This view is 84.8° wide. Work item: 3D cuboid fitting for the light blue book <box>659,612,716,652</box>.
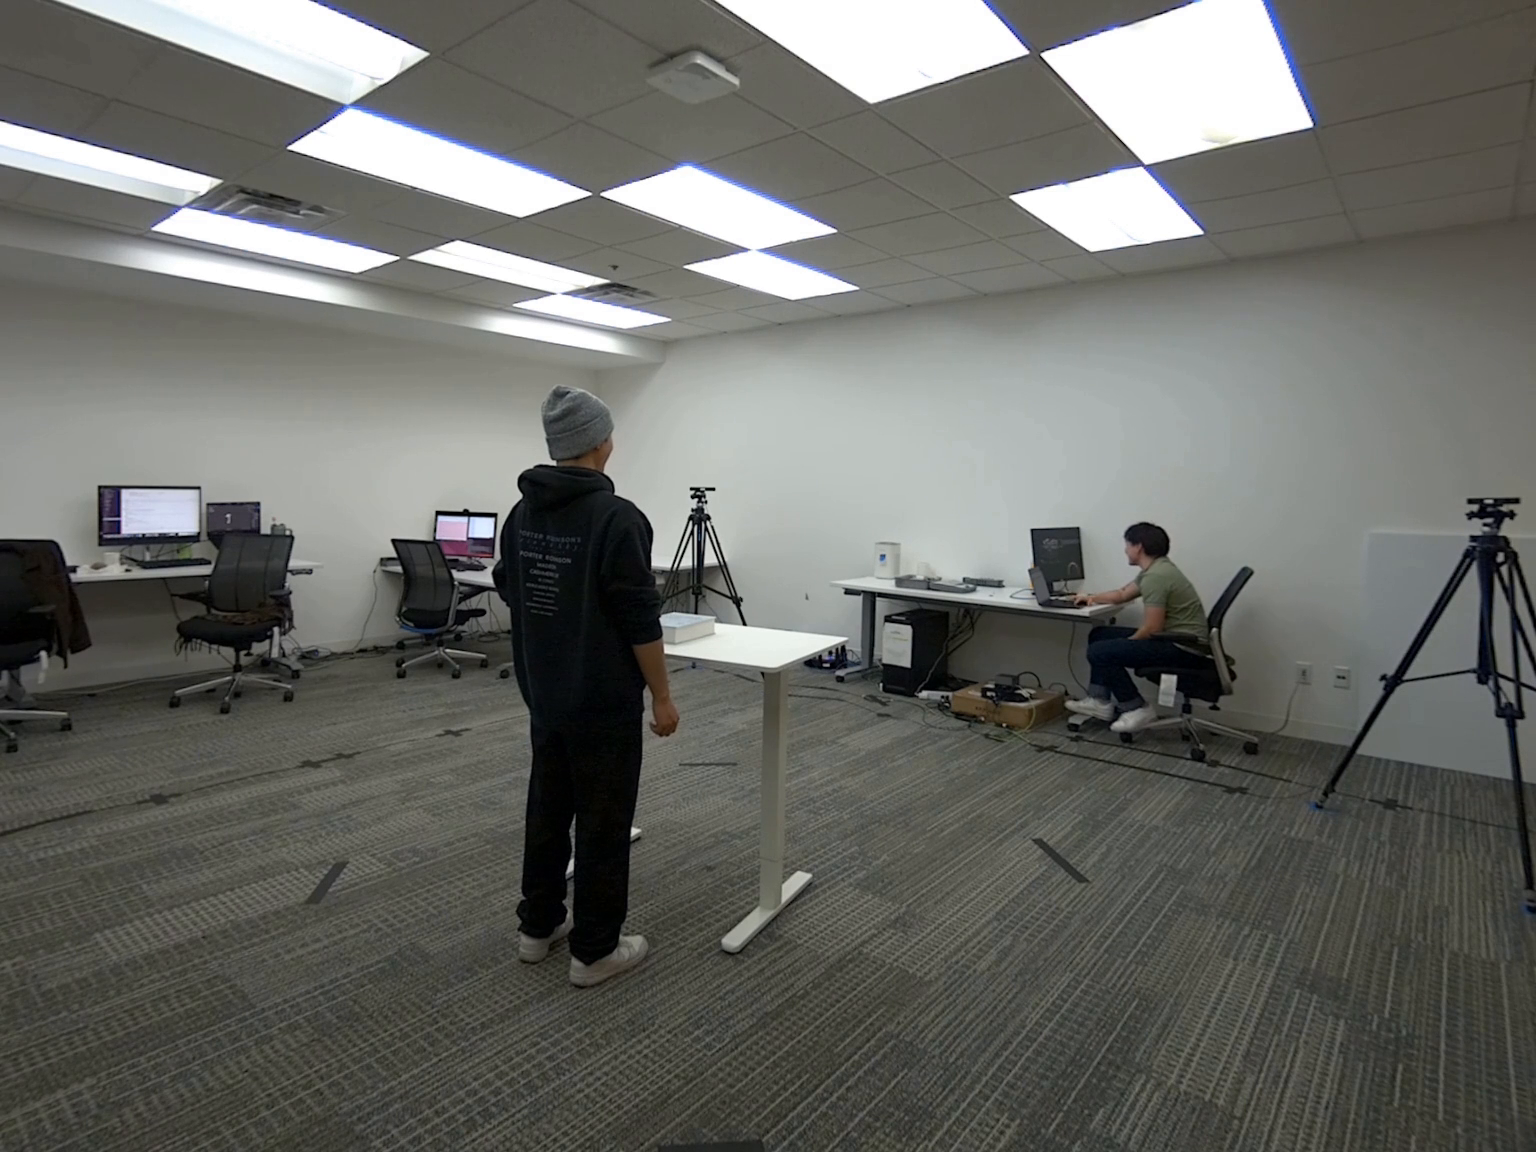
[{"bbox_3d":[-0.327,0.175,2.895,0.197,0.059,0.255,4,6,28],"label":"light blue book"}]
